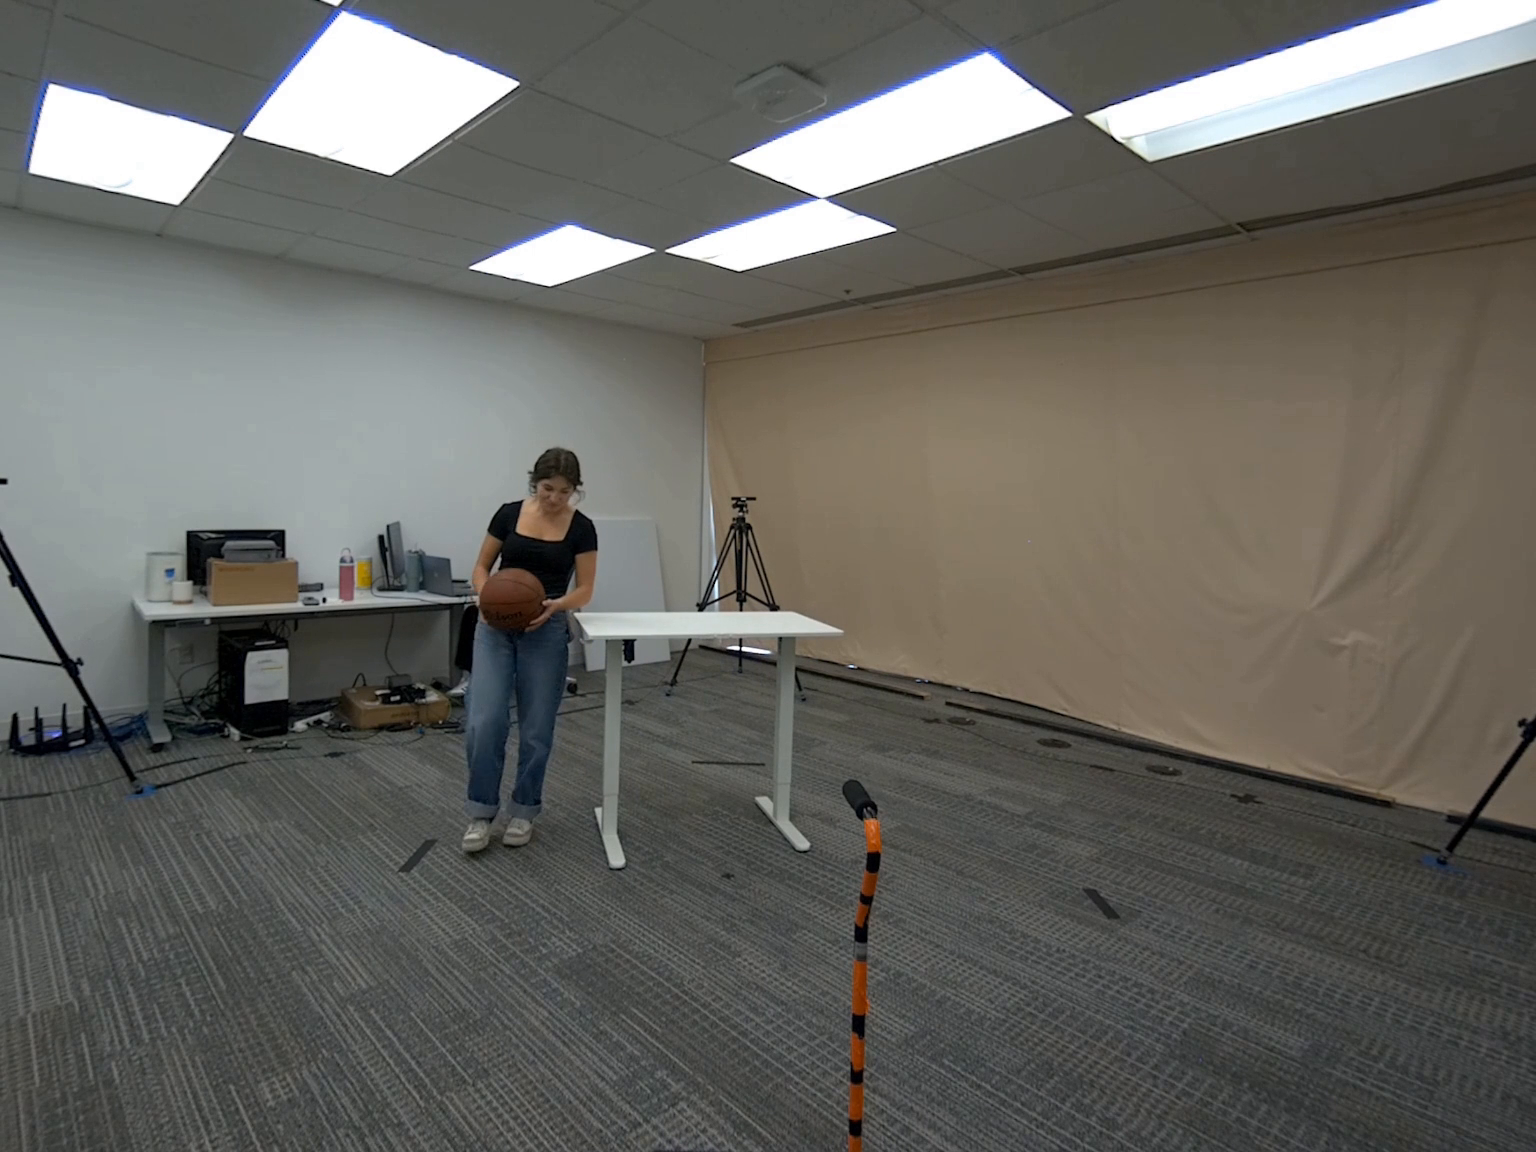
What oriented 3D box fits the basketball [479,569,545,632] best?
[{"bbox_3d":[-0.970,0.087,3.133,0.236,0.235,0.237,1,4,-1],"label":"basketball"}]
